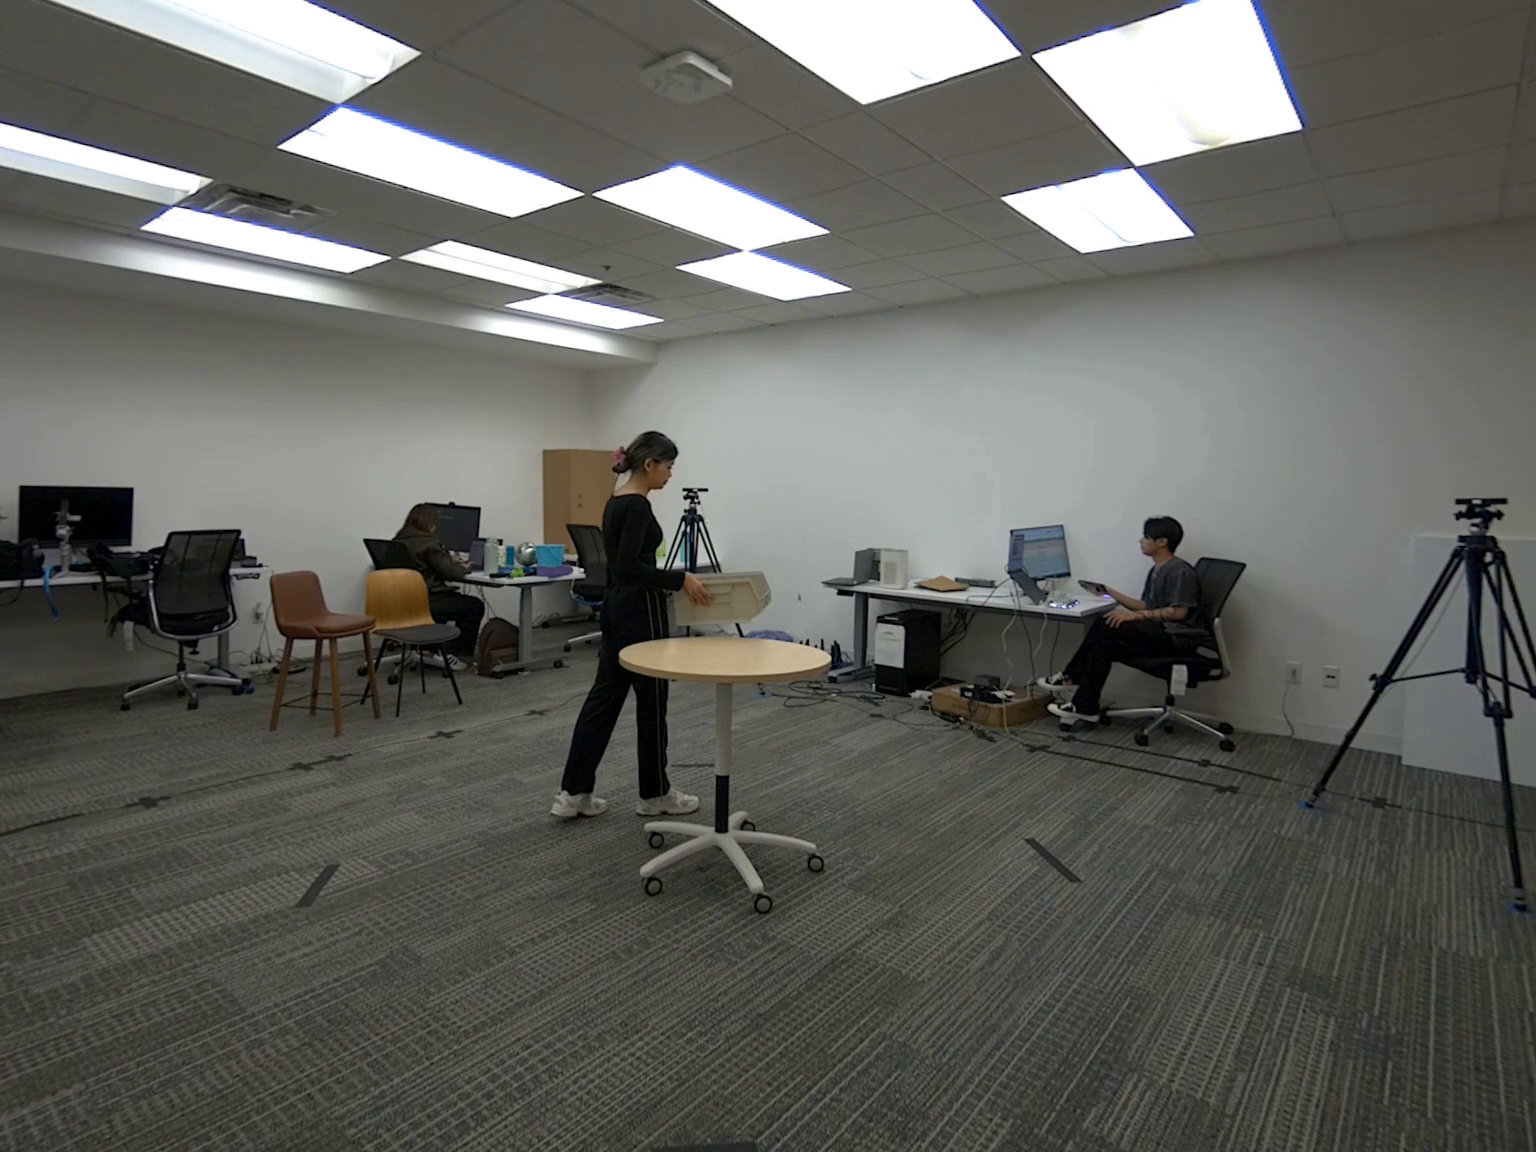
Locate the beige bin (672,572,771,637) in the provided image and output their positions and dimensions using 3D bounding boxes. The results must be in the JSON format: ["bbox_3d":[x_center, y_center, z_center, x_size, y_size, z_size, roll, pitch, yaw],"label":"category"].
[{"bbox_3d":[-0.201,0.093,3.690,0.380,0.188,0.421,-4,5,7],"label":"beige bin"}]
